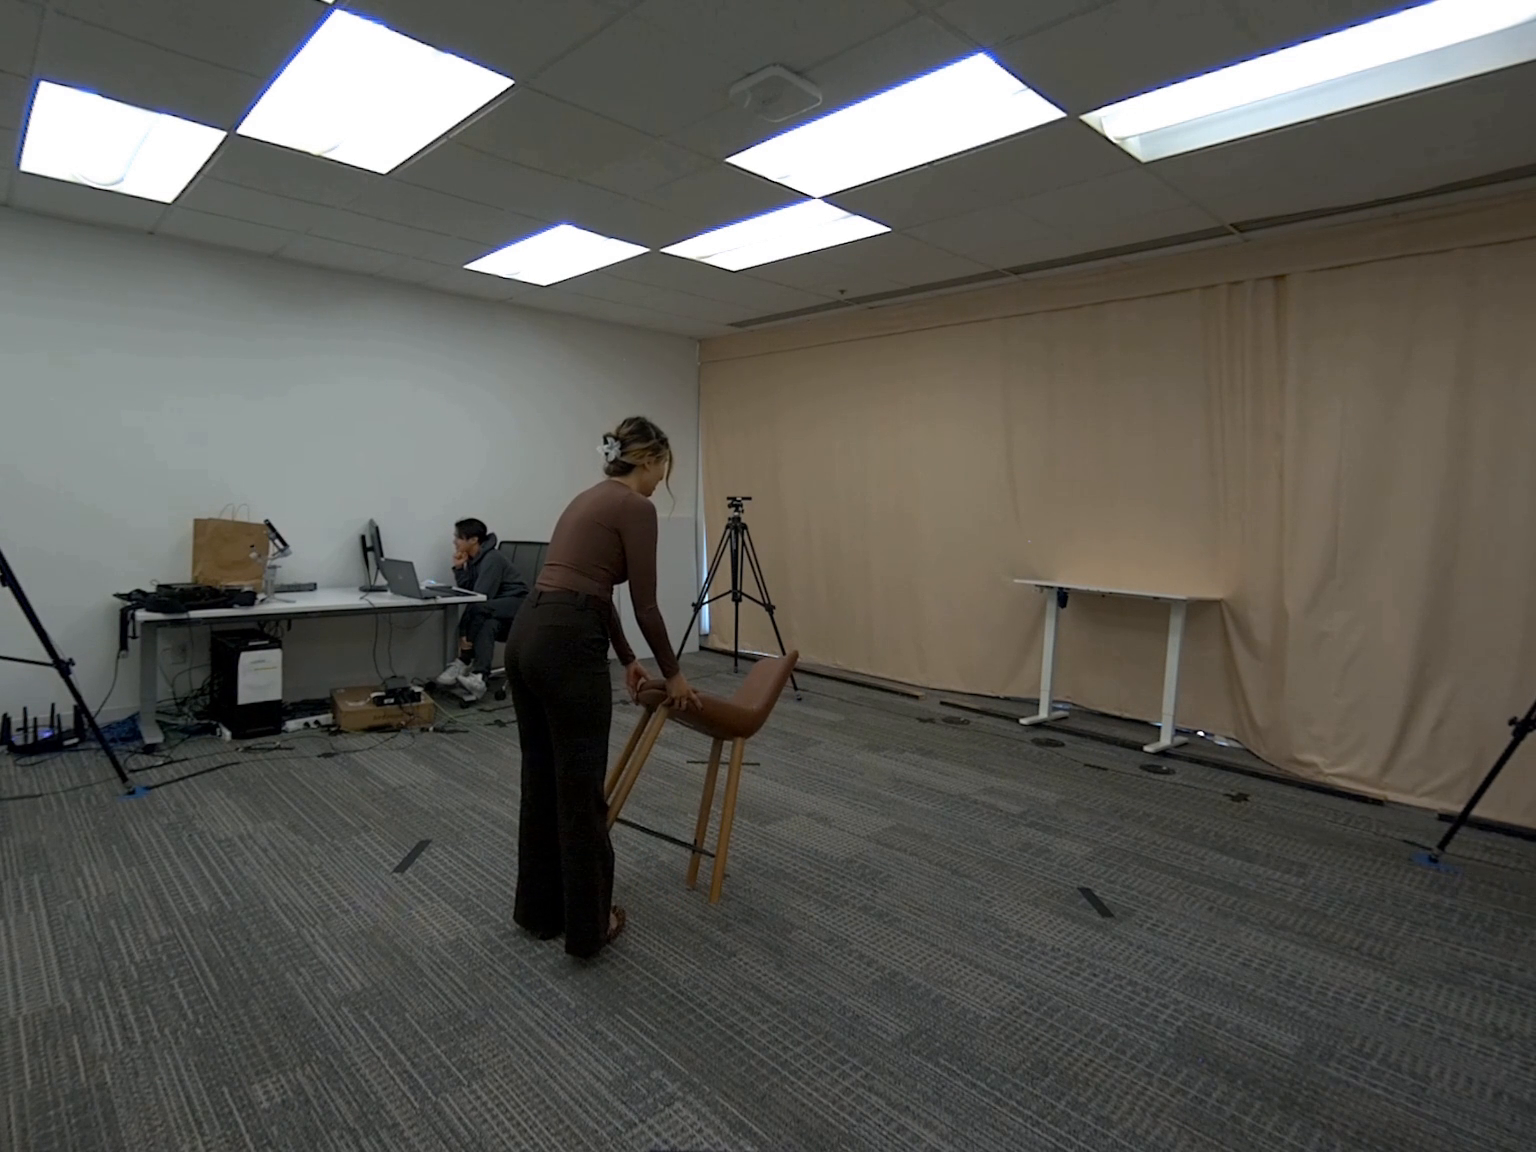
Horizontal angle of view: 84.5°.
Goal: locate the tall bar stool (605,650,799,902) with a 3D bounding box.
[{"bbox_3d":[-0.280,0.607,2.929,0.462,0.896,0.458,24,-18,-11],"label":"tall bar stool"}]
